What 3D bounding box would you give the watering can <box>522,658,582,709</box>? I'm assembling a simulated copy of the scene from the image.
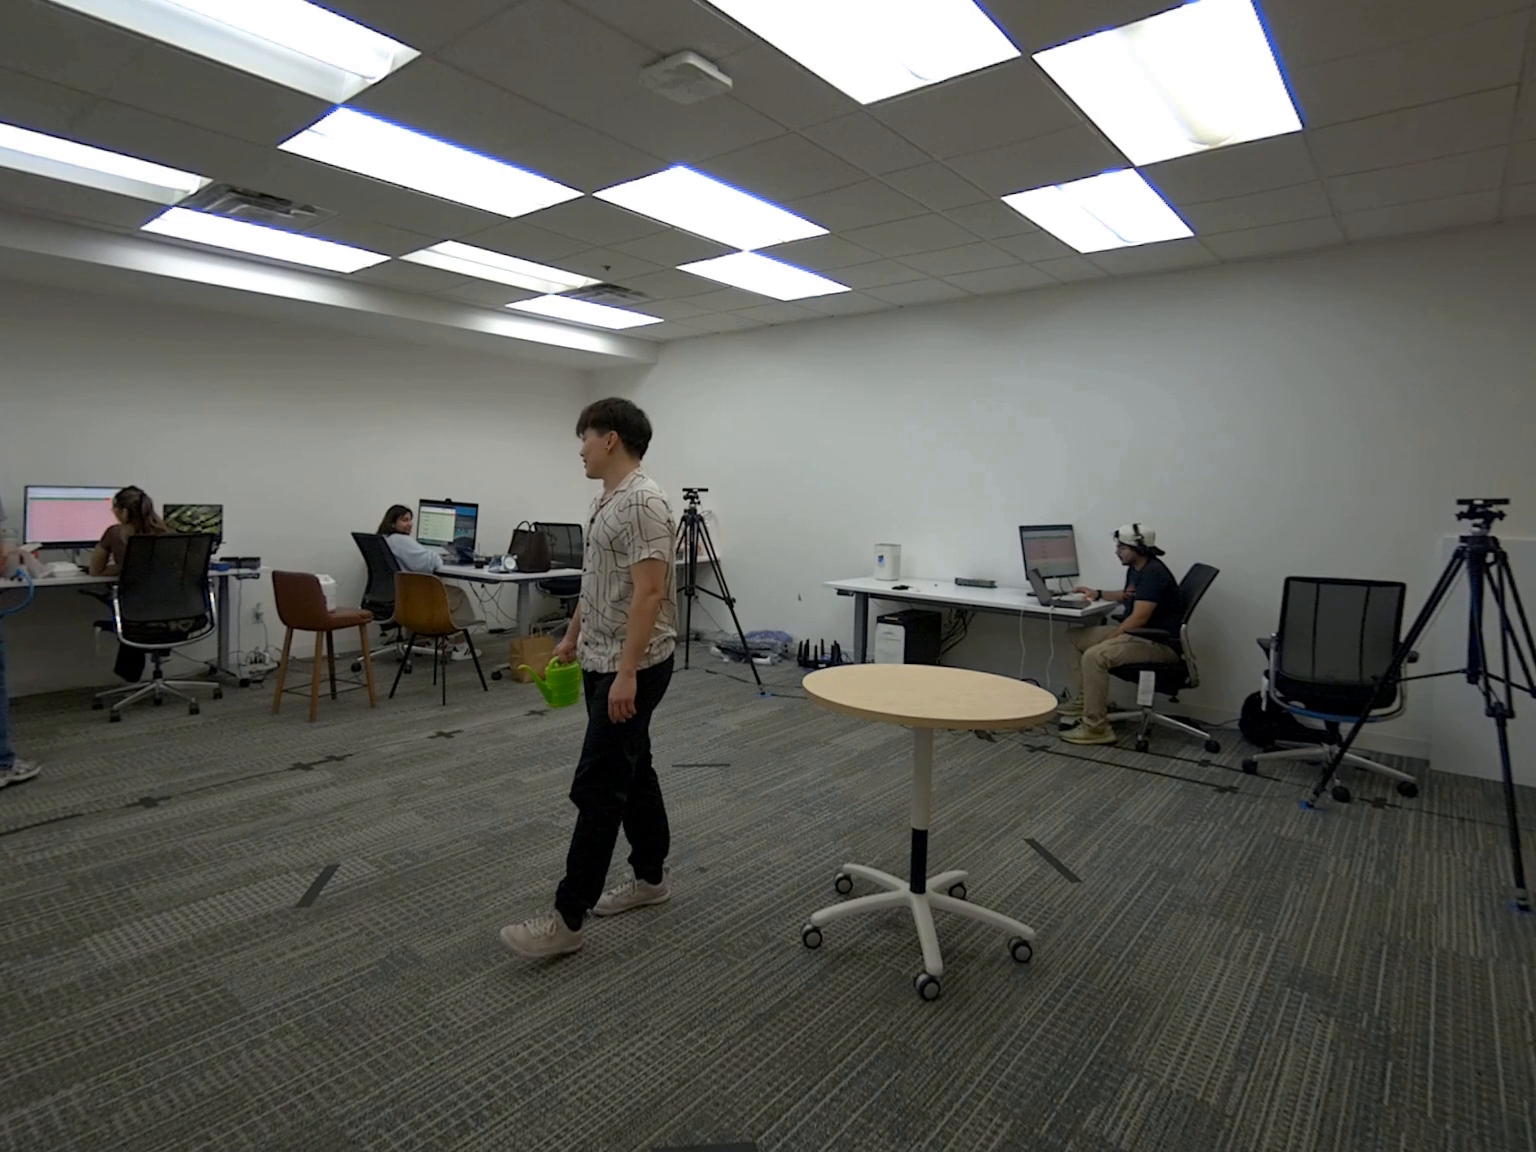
[{"bbox_3d":[-0.762,0.361,2.958,0.270,0.176,0.101,-5,10,-38],"label":"watering can"}]
